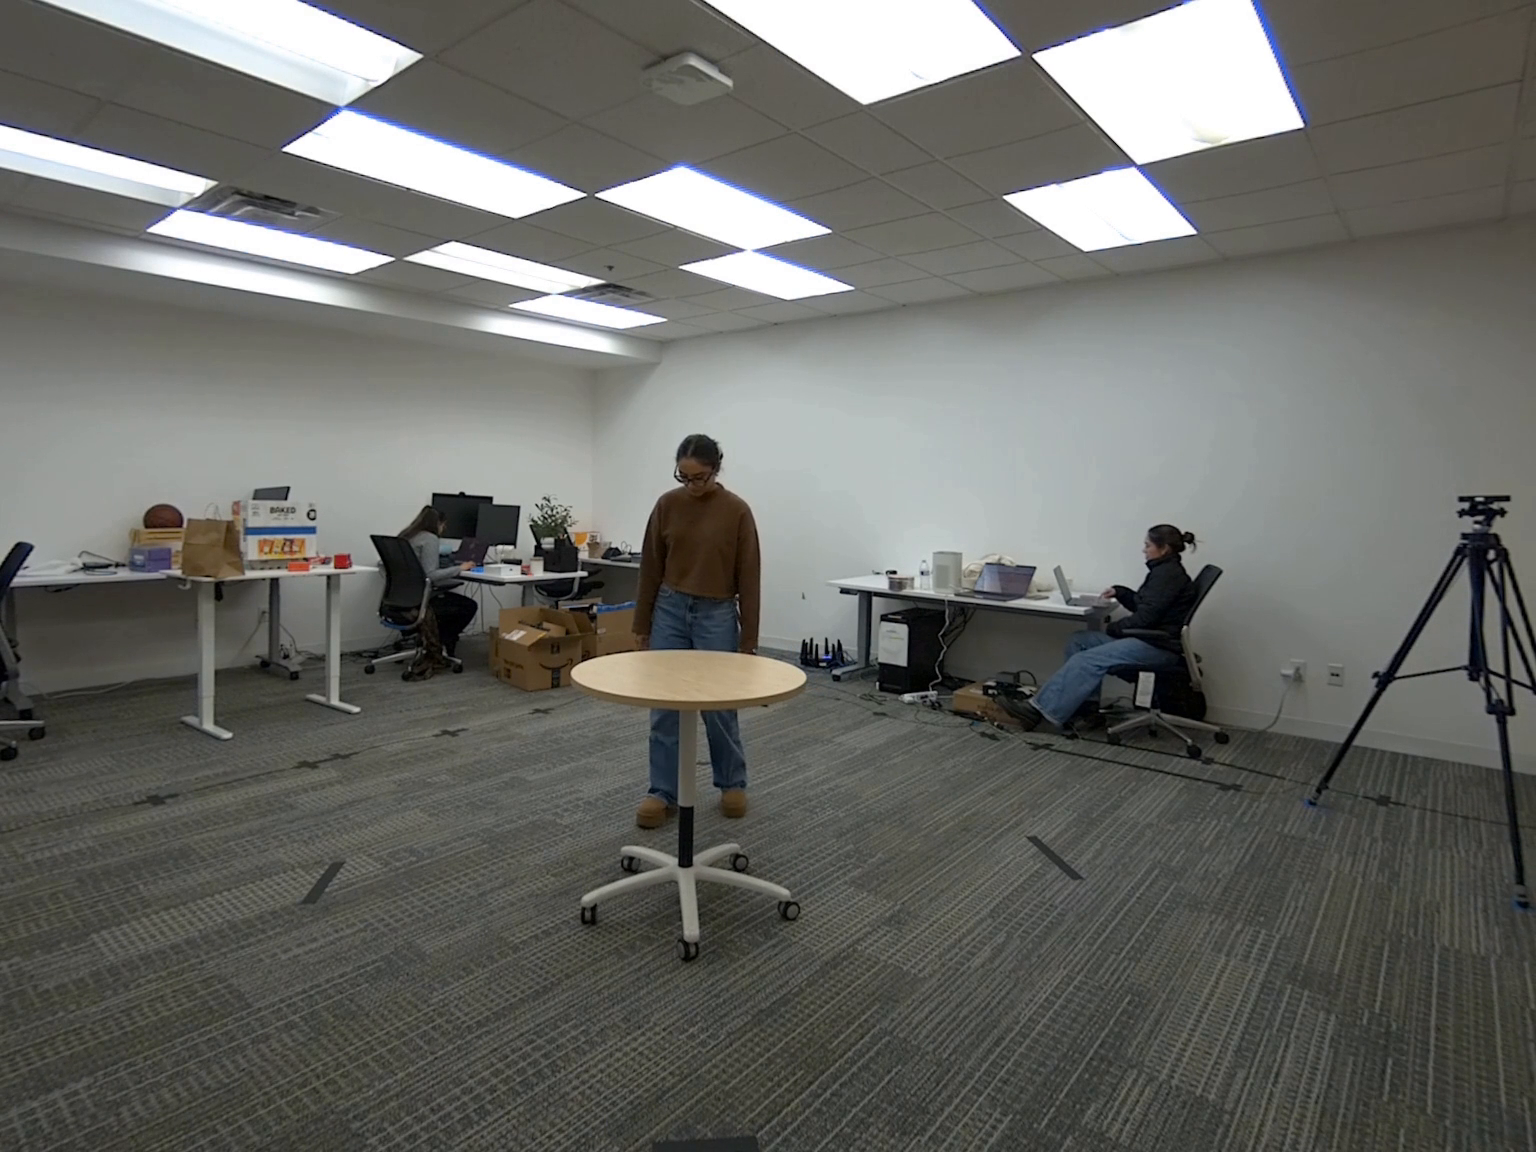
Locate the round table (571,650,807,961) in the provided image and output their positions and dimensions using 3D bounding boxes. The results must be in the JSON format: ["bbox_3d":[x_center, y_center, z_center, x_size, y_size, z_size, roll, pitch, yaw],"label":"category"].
[{"bbox_3d":[-0.271,0.704,2.812,0.763,0.791,0.768,1,4,-2],"label":"round table"}]
